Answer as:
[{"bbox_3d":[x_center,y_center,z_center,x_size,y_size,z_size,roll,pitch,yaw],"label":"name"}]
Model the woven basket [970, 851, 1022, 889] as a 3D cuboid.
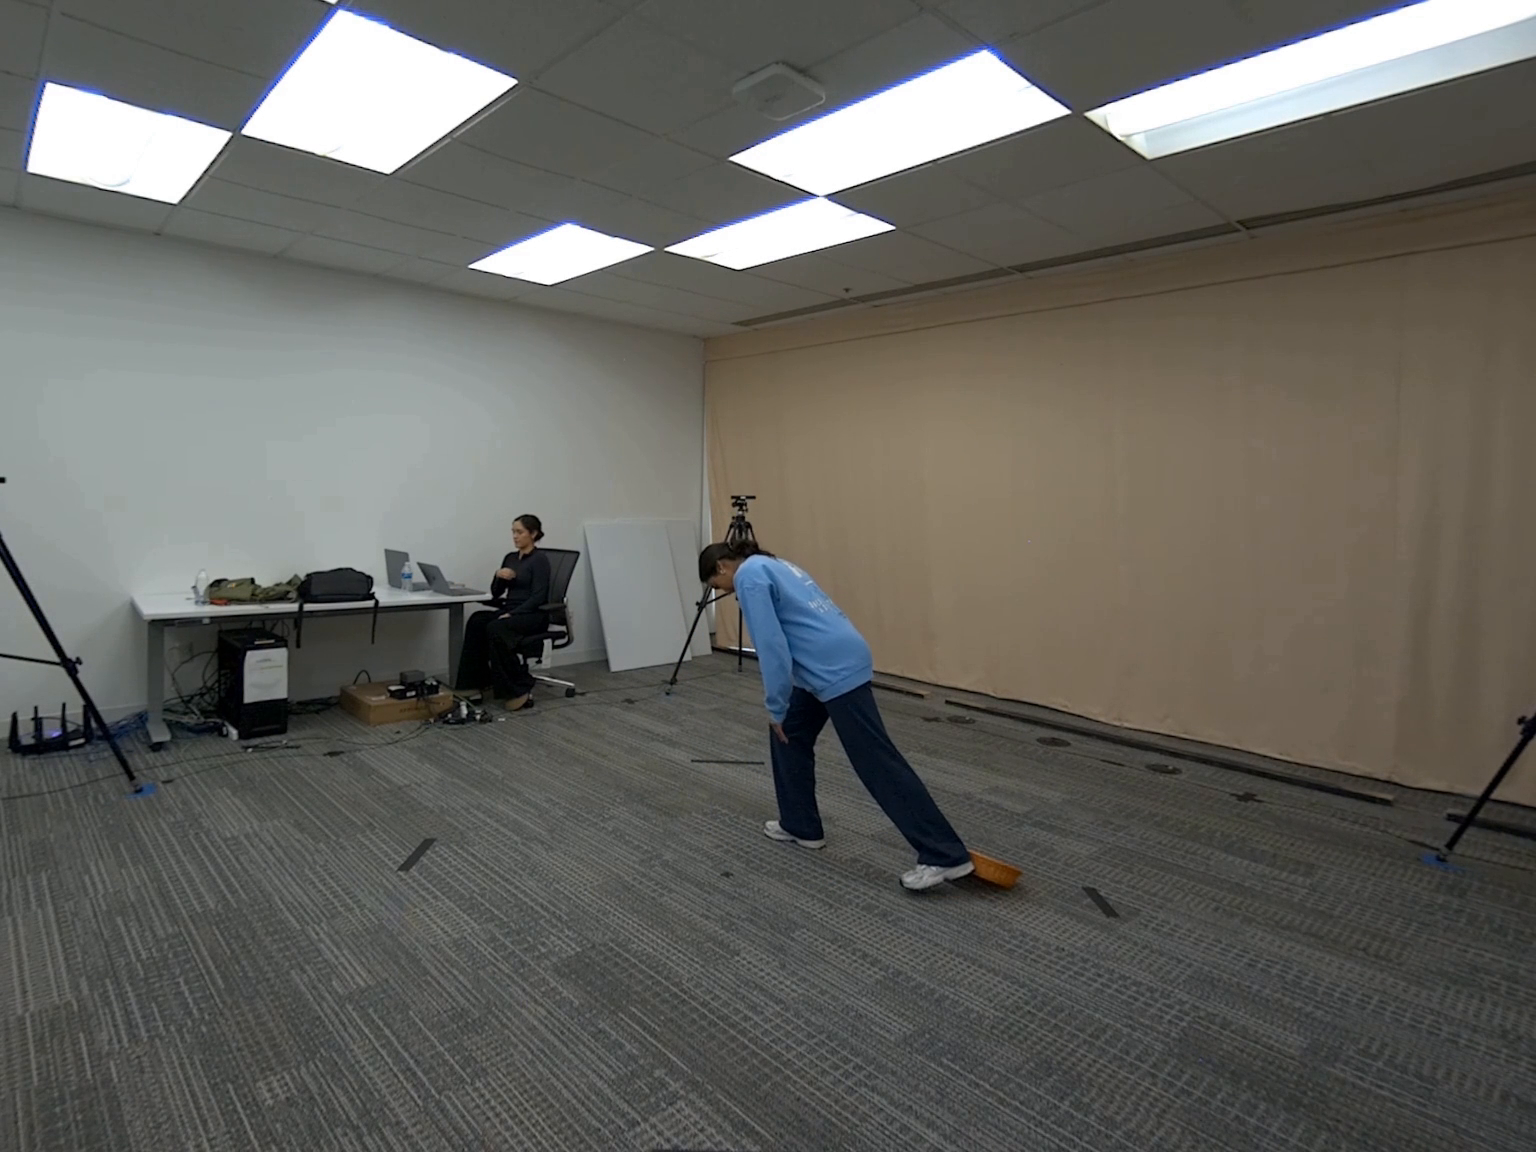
[{"bbox_3d":[0.775,1.069,3.103,0.245,0.074,0.358,26,-13,-32],"label":"woven basket"}]
